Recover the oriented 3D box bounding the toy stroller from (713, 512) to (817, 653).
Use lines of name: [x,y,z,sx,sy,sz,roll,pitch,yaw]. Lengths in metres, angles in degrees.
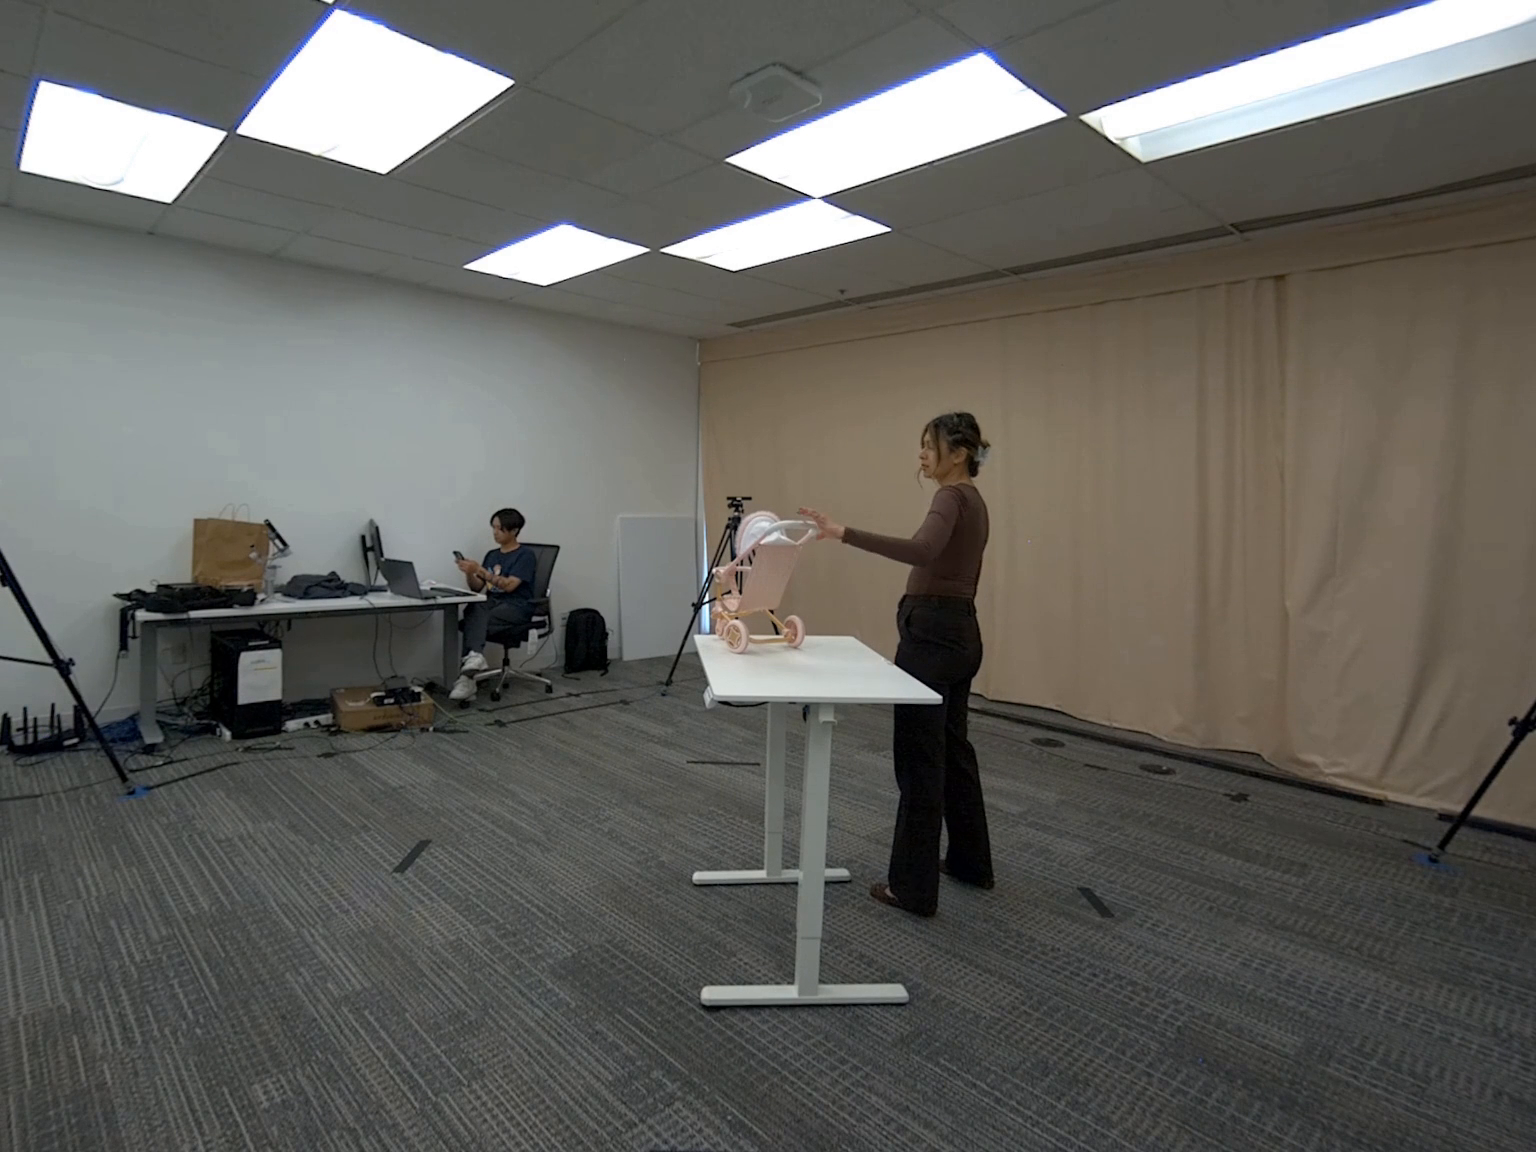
toy stroller: [-0.043,0.021,2.879,0.275,0.530,0.352,1,18,-35]
